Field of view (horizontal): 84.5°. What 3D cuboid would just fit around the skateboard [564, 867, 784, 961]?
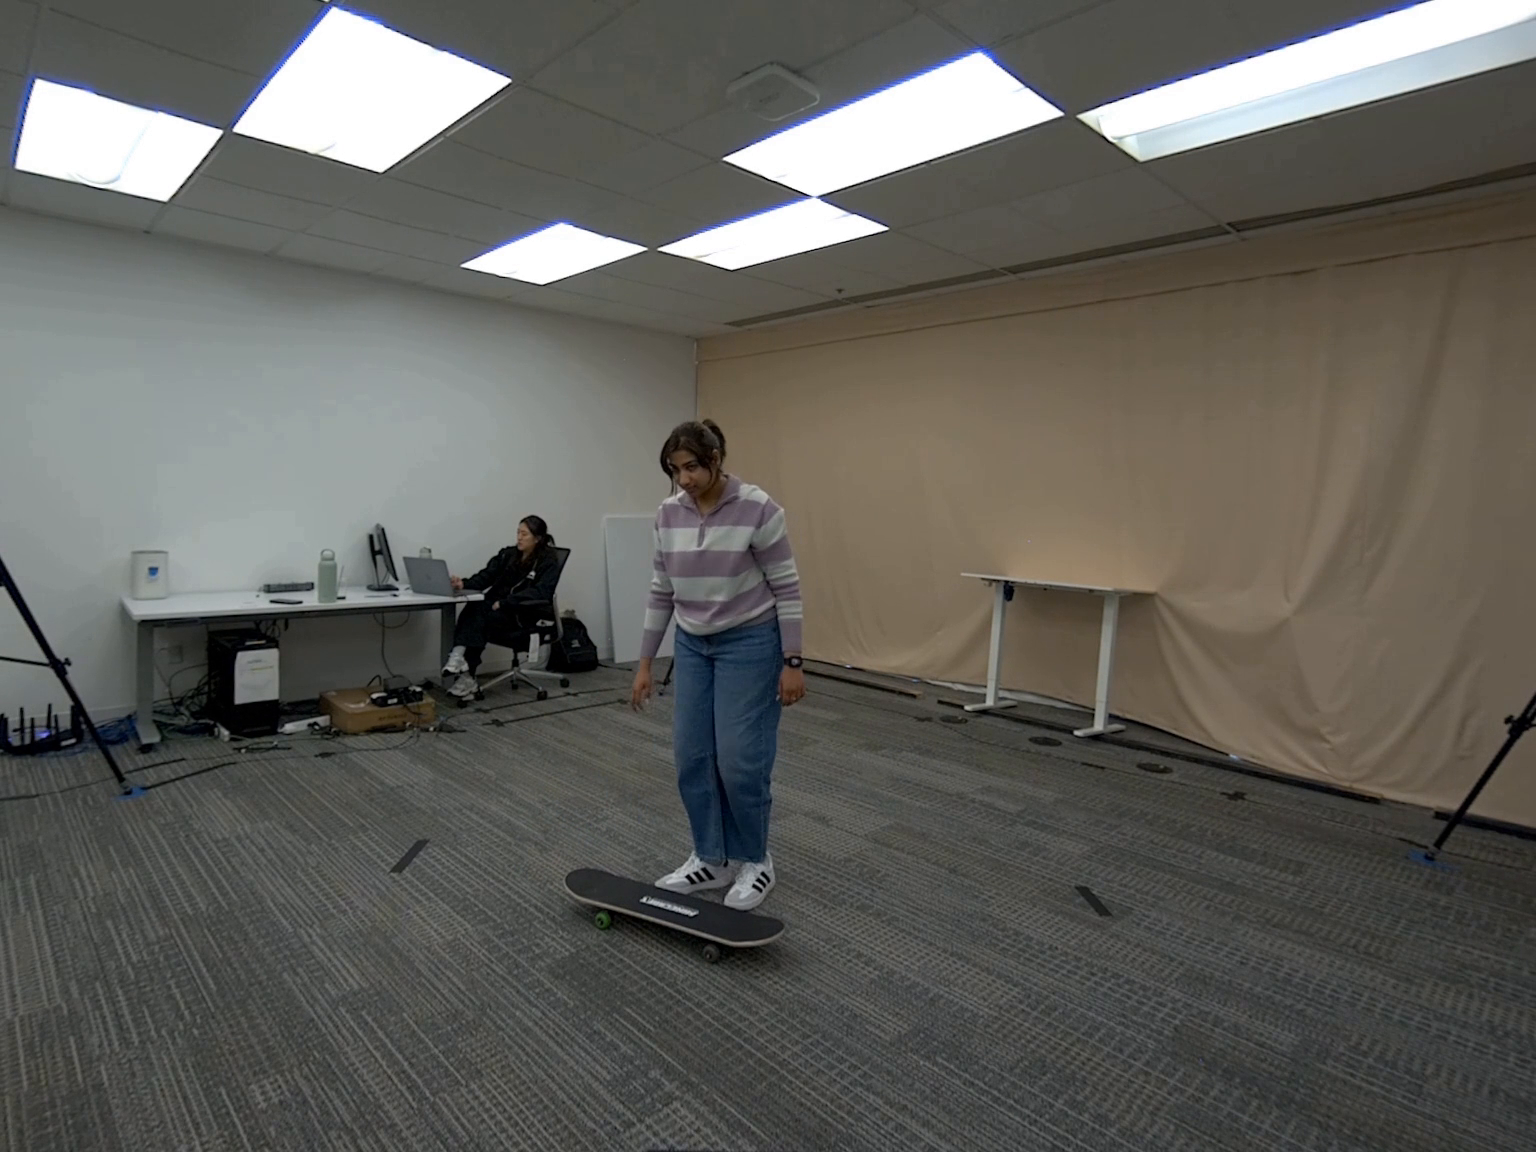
[{"bbox_3d":[-0.321,1.083,2.673,0.801,0.110,0.190,4,4,27],"label":"skateboard"}]
